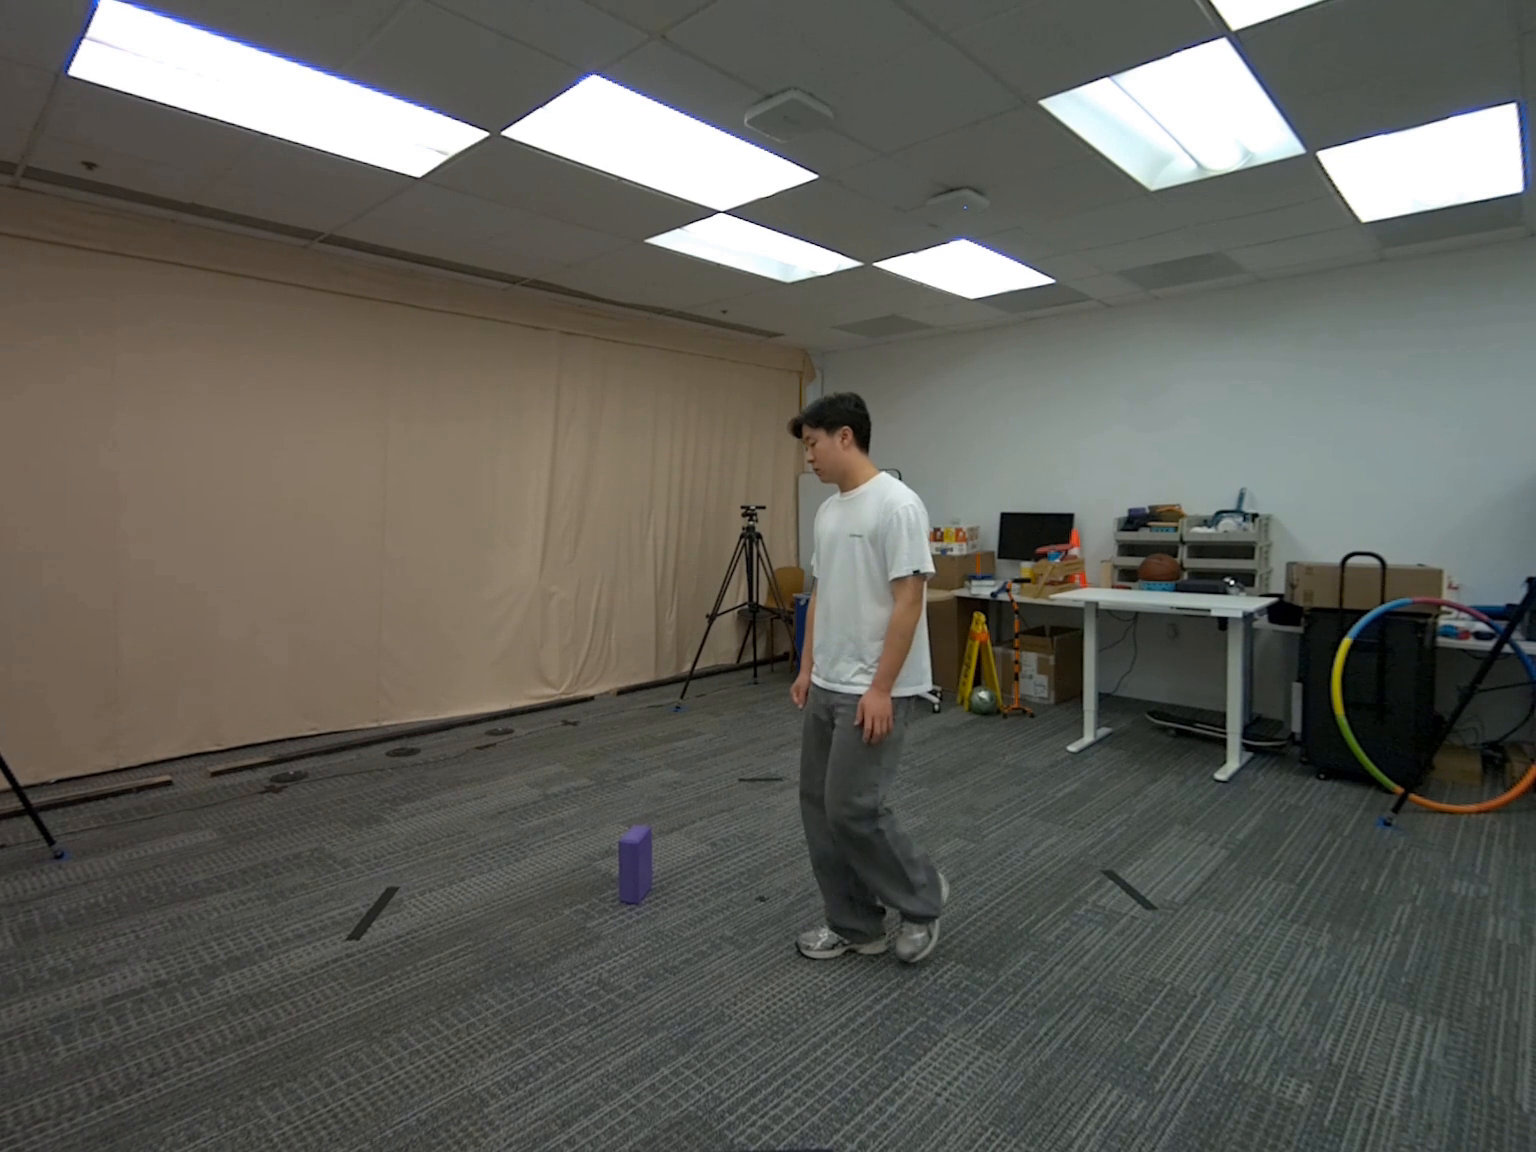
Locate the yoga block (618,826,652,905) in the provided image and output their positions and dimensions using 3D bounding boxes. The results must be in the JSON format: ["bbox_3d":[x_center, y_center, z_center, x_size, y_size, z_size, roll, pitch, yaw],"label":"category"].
[{"bbox_3d":[-0.469,1.032,3.009,0.077,0.229,0.147,0,3,12],"label":"yoga block"}]
